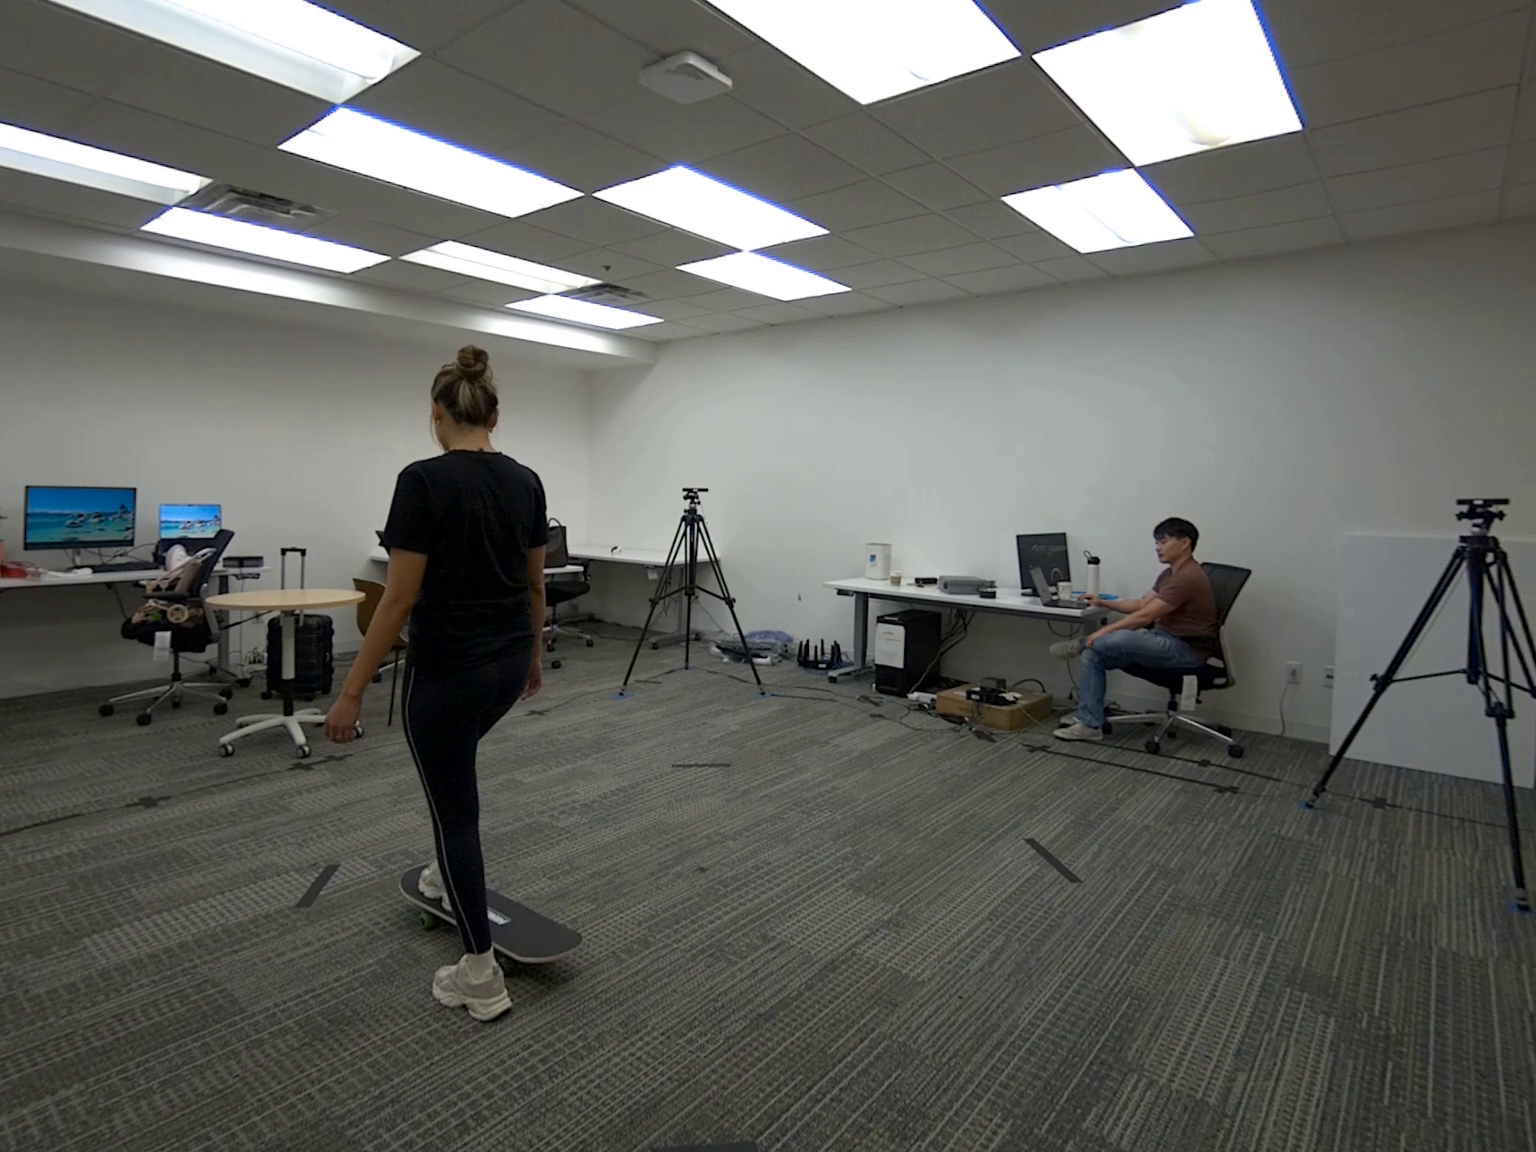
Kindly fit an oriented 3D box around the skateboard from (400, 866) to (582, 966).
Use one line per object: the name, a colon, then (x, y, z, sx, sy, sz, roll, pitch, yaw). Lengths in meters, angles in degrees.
skateboard: (-0.869, 1.056, 2.592, 0.811, 0.110, 0.188, 5, 8, 37)
